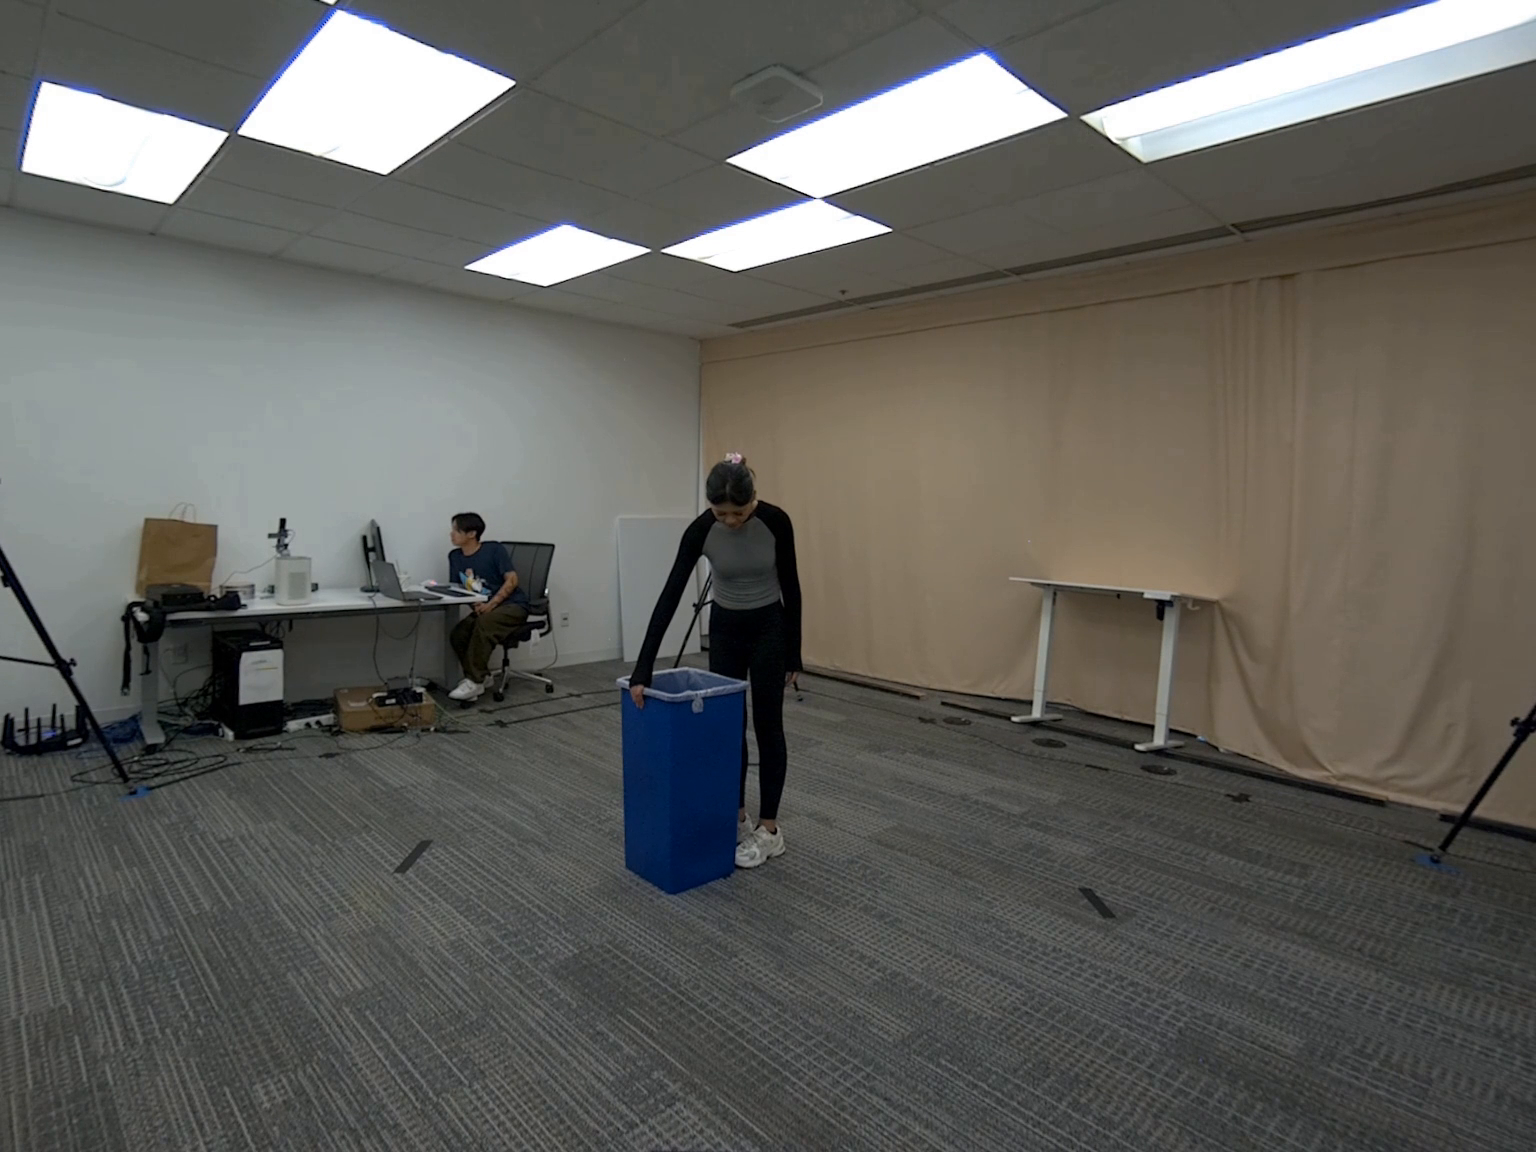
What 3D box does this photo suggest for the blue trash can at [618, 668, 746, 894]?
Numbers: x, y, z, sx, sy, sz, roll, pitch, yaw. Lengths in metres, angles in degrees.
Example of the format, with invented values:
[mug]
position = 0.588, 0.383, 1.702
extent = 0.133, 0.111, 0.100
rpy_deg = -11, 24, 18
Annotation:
[blue trash can]
position = -0.338, 0.744, 3.133
extent = 0.369, 0.712, 0.384
rpy_deg = -2, 5, -43
